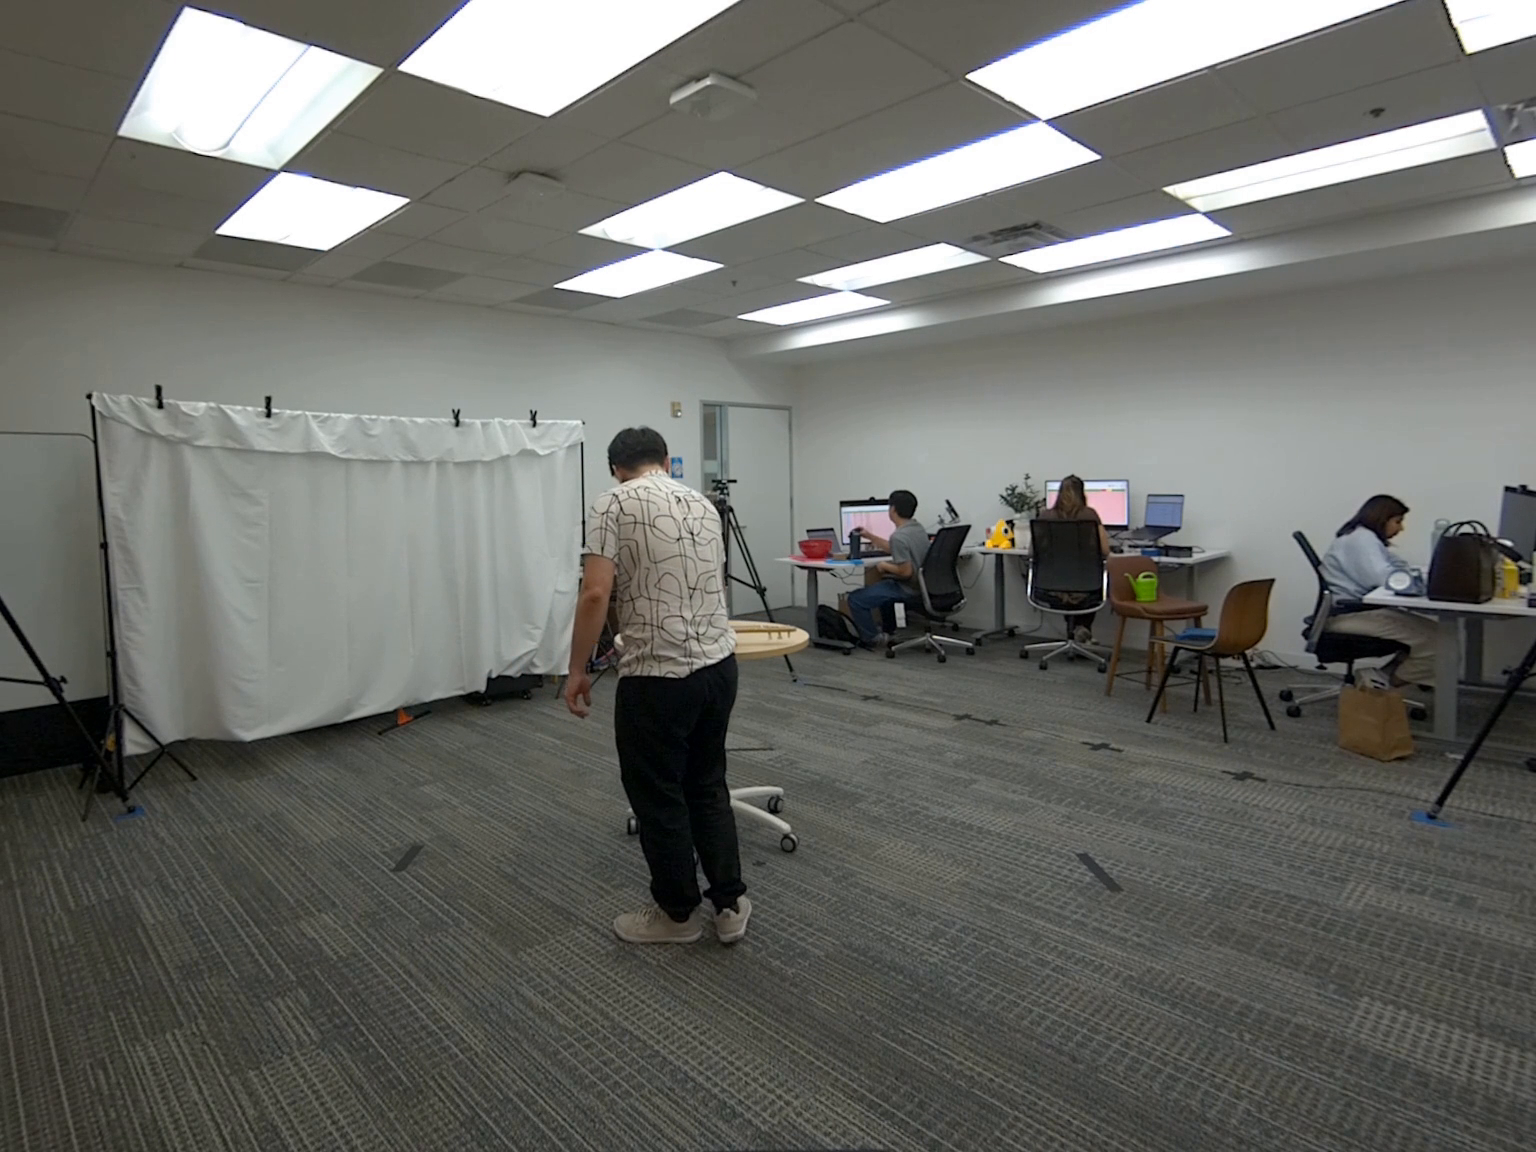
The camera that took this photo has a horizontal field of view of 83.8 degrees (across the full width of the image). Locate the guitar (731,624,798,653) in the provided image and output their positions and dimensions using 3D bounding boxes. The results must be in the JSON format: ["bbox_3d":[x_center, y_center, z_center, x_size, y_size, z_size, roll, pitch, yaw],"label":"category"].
[{"bbox_3d":[-0.144,0.227,3.132,0.500,0.070,0.193,-1,5,5],"label":"guitar"}]
